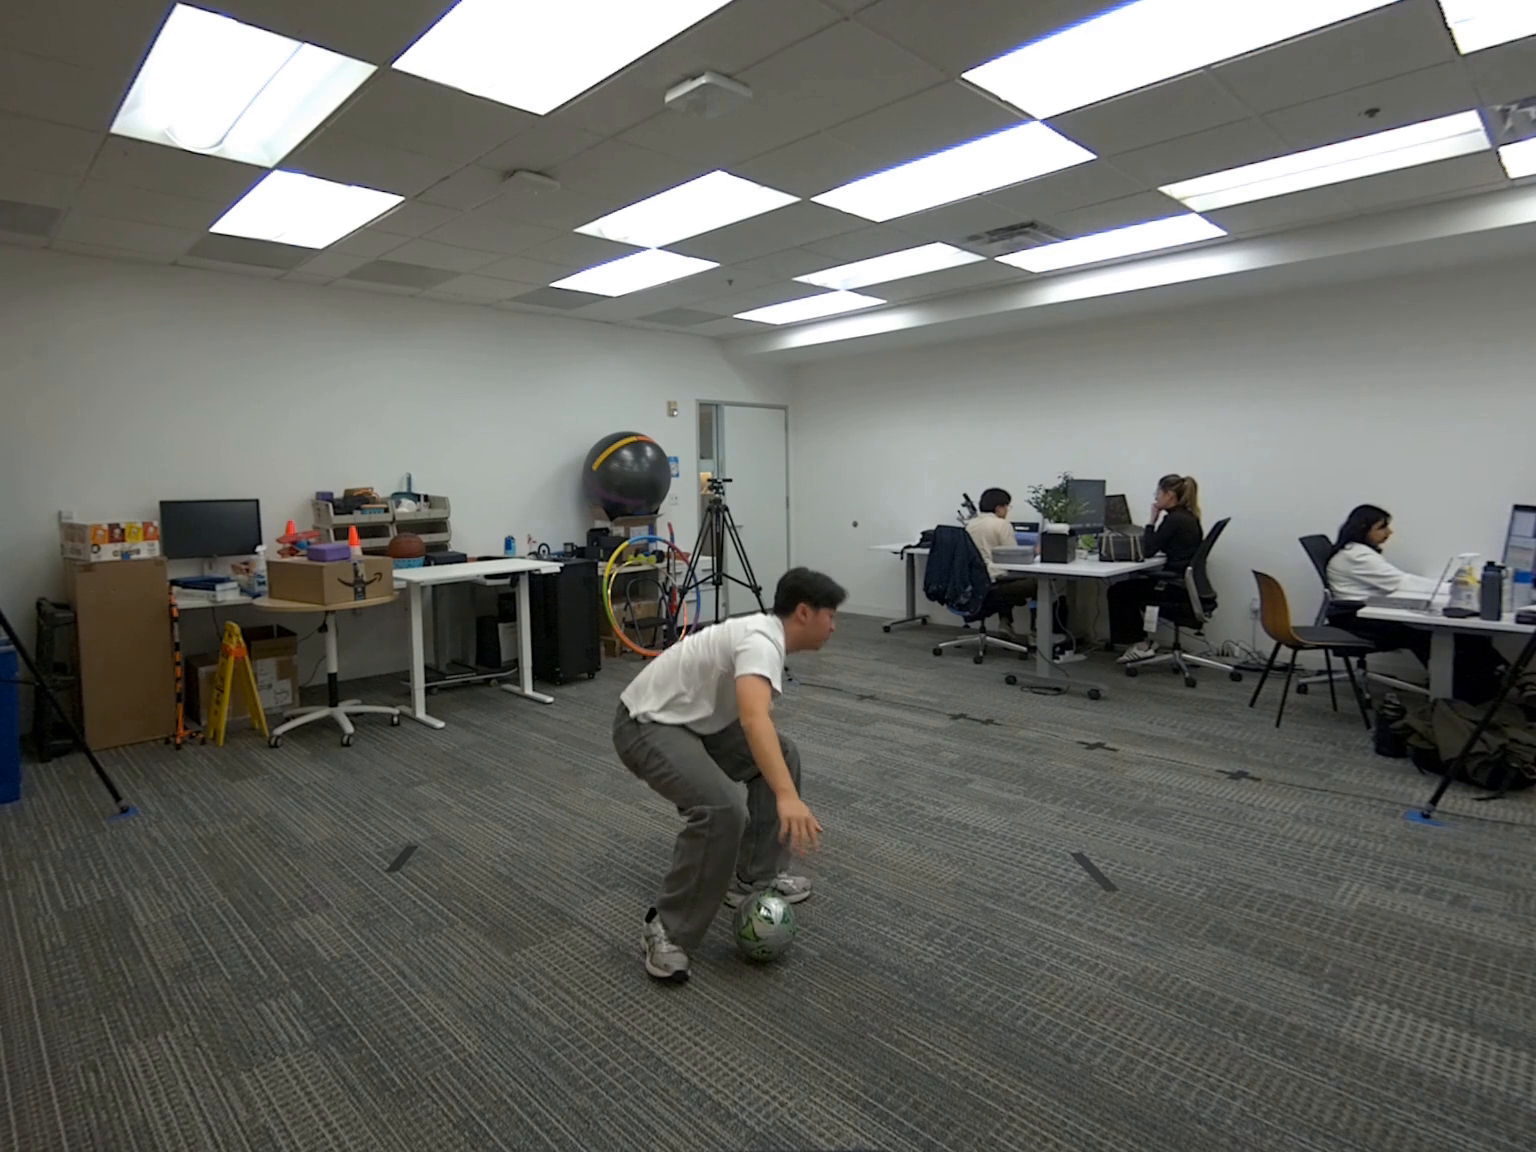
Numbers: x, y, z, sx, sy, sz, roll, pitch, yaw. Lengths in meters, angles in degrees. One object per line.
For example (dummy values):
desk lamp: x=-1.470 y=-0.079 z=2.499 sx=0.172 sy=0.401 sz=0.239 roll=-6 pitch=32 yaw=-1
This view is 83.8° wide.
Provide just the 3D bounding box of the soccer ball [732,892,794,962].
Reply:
soccer ball: x=-0.012 y=1.023 z=2.500 sx=0.187 sy=0.187 sz=0.188 roll=-1 pitch=5 yaw=-2
